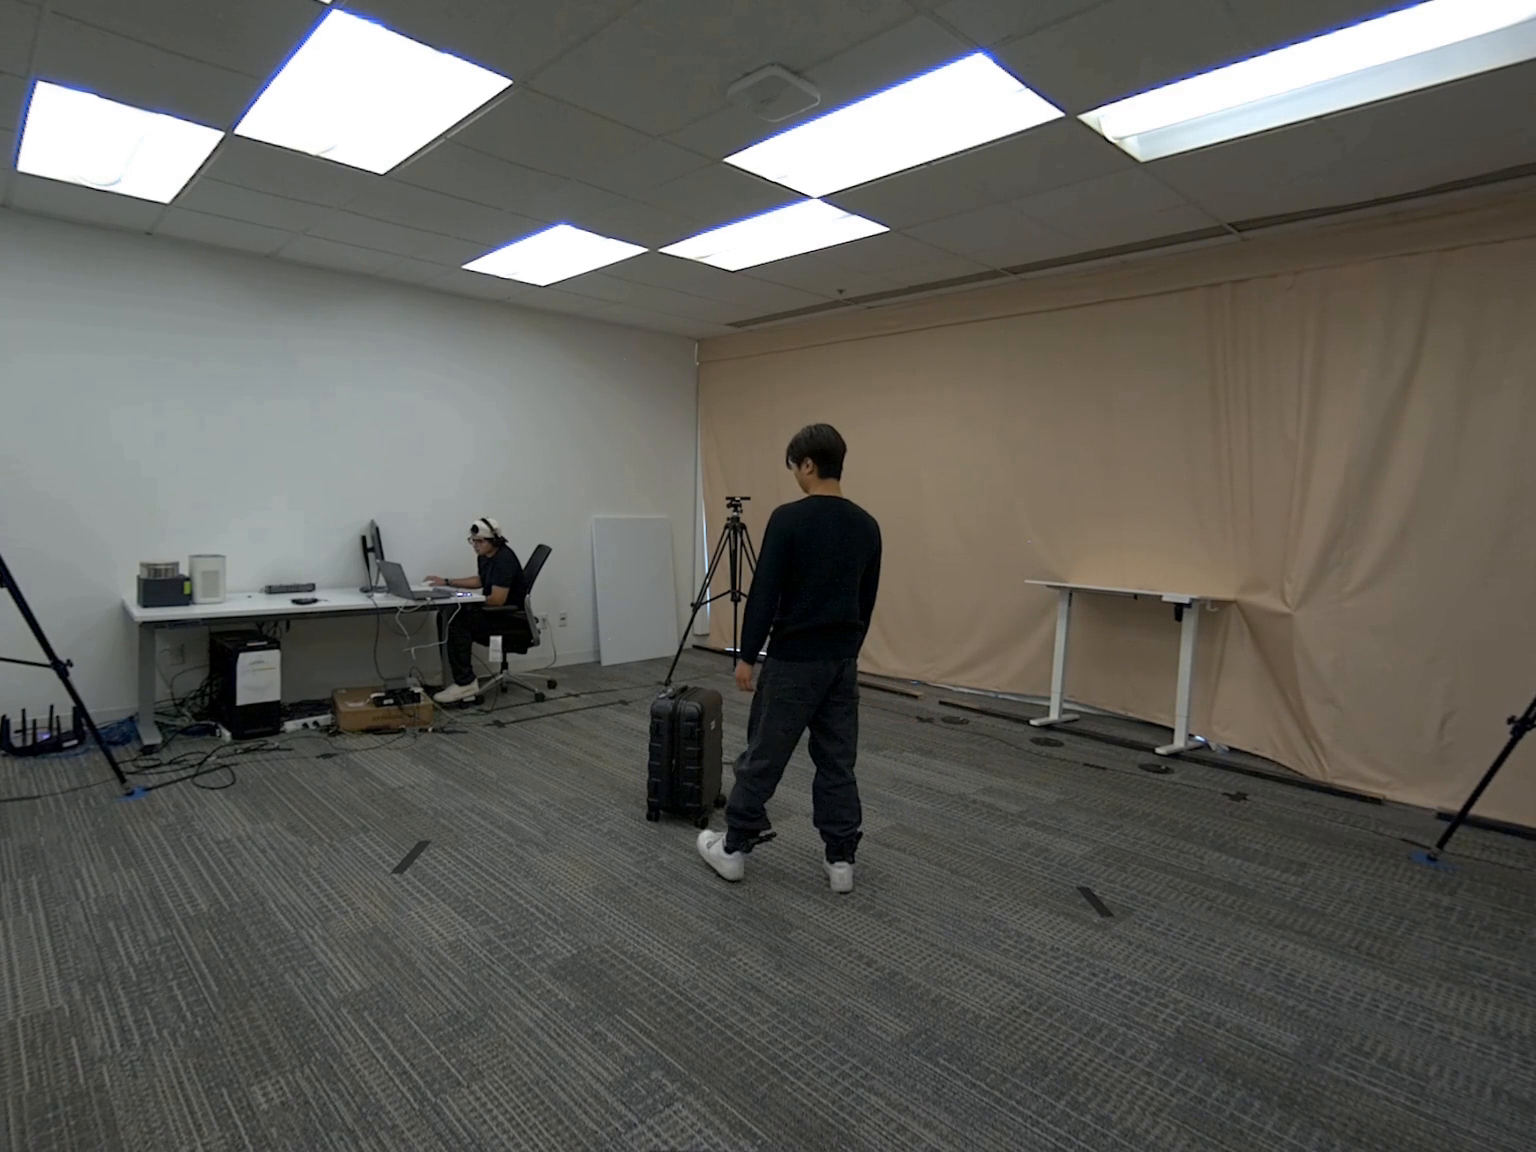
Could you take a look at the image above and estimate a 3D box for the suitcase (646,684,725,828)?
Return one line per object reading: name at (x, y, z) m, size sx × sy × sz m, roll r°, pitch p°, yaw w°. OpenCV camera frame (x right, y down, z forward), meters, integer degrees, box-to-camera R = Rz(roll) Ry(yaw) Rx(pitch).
suitcase at (-0.369, 0.771, 3.710) m, size 0.251 × 0.548 × 0.371 m, roll 3°, pitch 3°, yaw 14°
